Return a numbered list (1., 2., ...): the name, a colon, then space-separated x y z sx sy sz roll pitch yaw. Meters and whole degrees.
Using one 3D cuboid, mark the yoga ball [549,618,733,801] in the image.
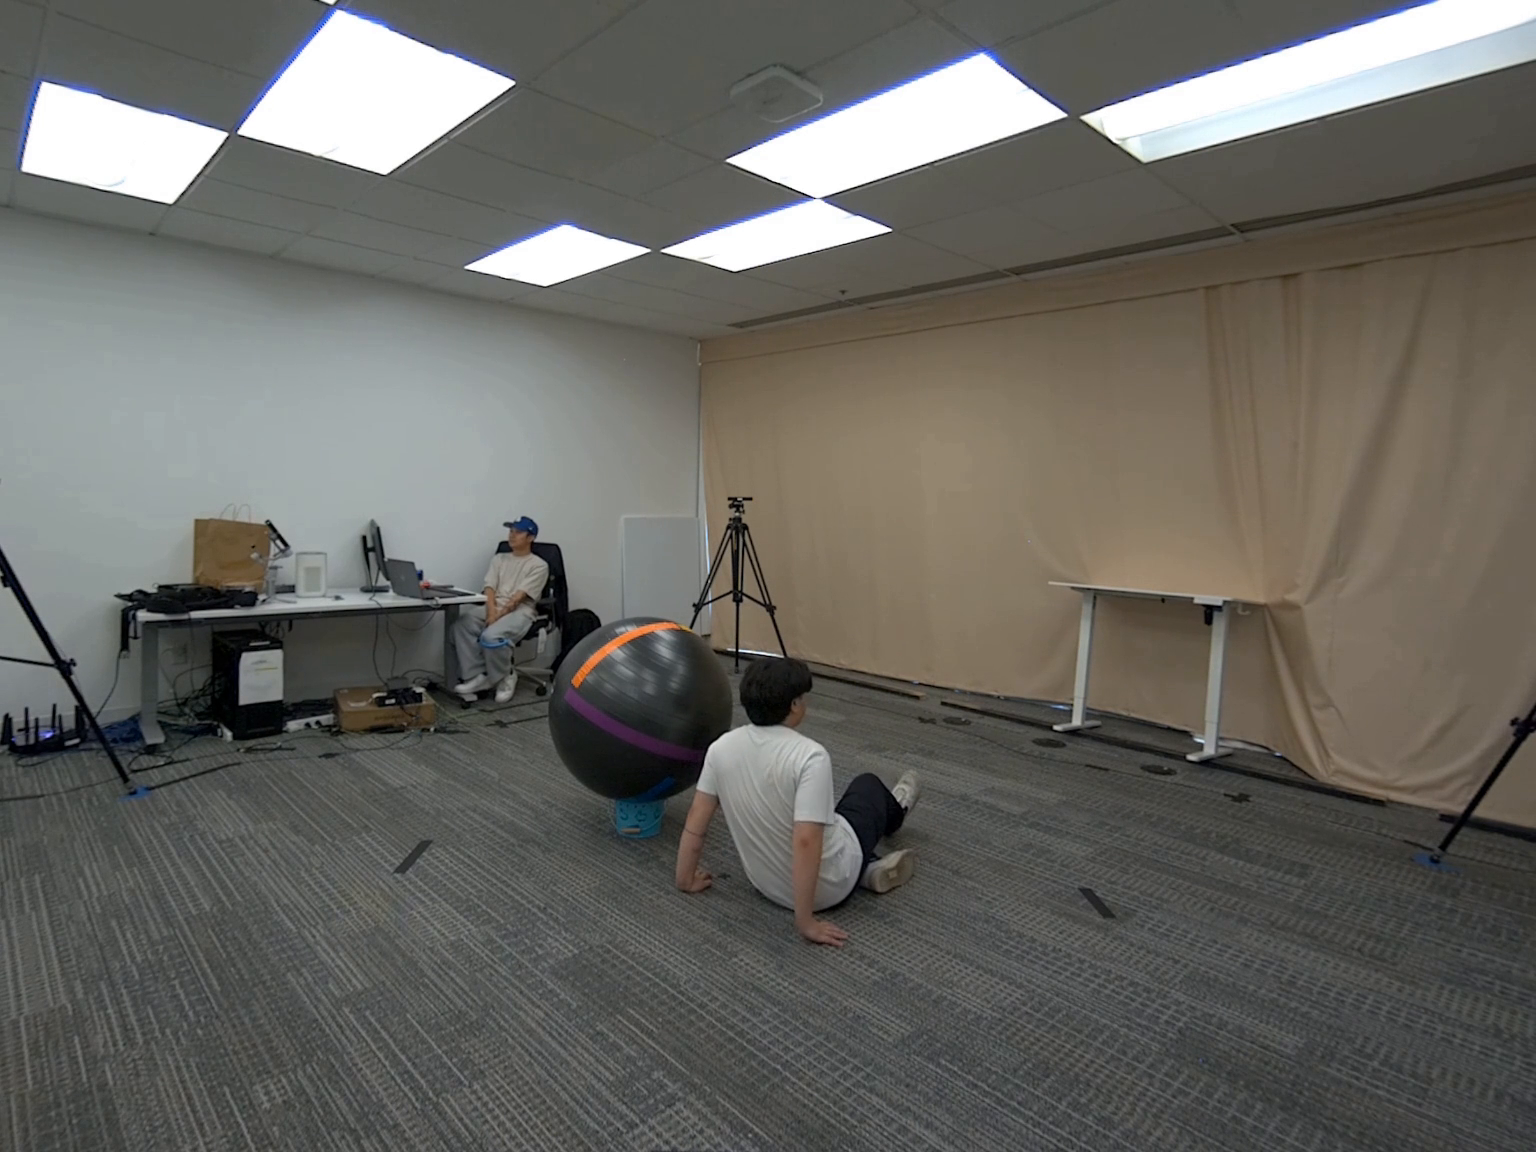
1. yoga ball: -0.534 0.551 3.518 0.757 0.756 0.761 1 4 -1
